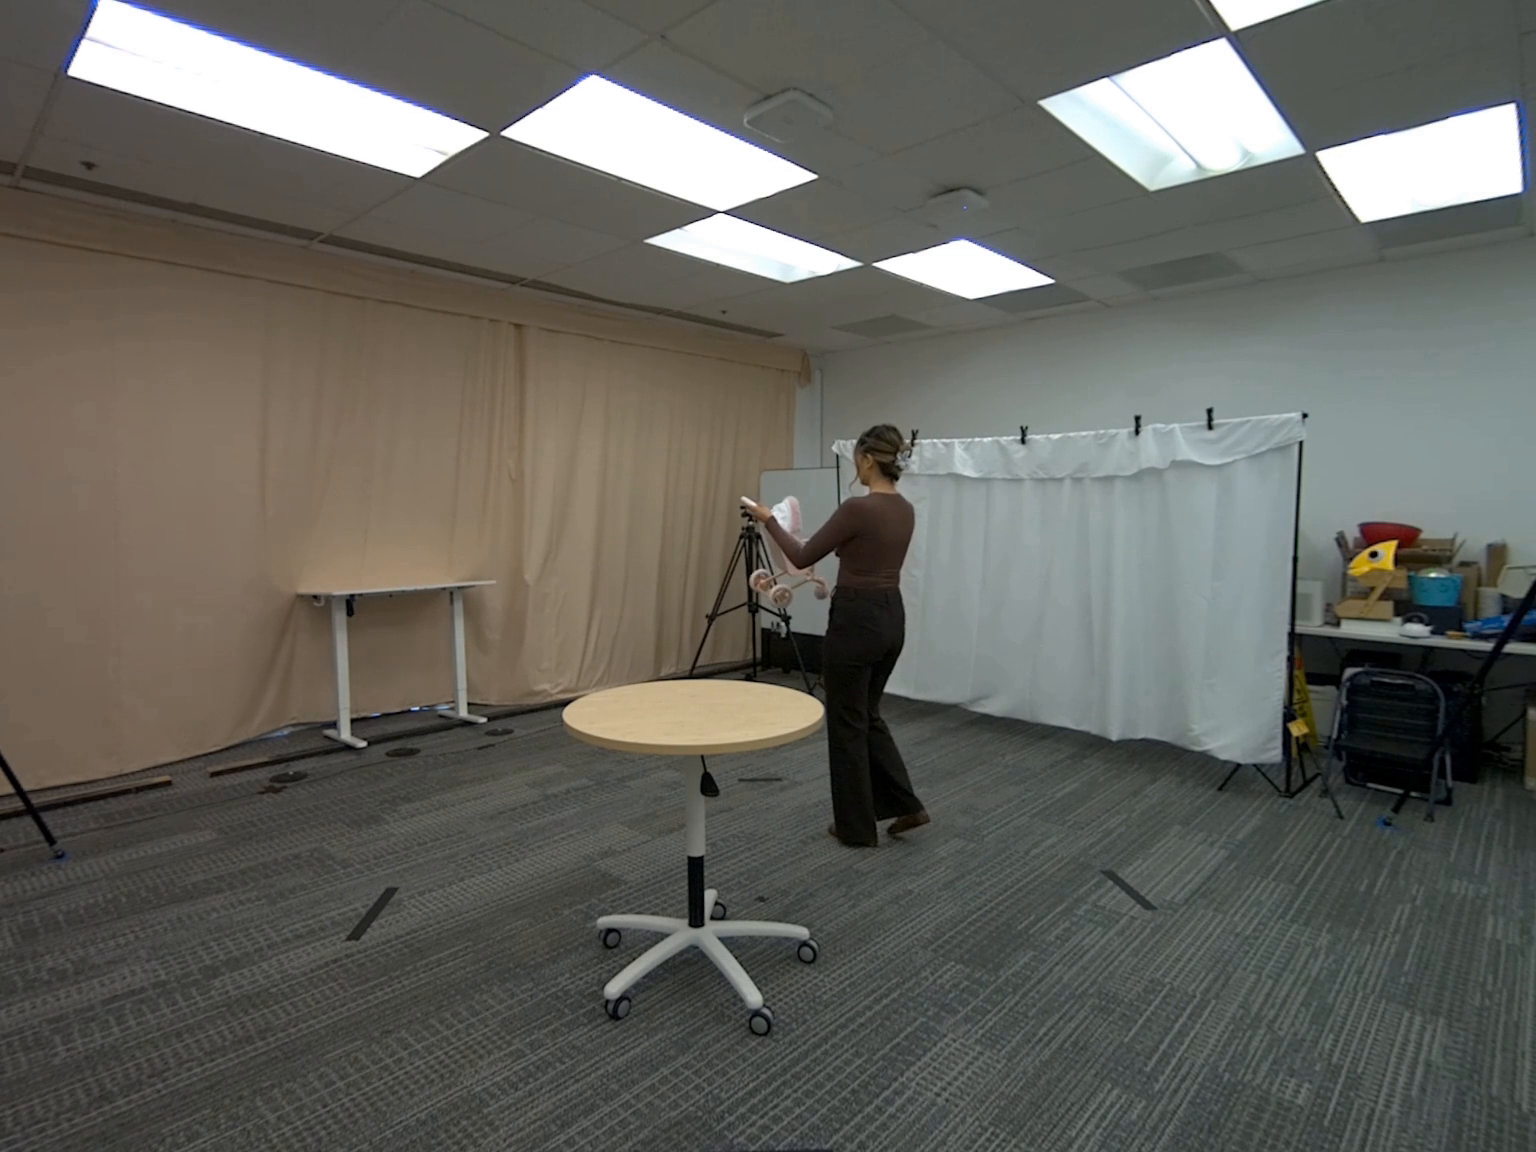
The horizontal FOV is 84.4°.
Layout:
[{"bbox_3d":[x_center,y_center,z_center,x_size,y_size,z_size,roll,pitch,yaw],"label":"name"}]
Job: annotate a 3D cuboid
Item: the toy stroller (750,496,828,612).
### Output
[{"bbox_3d":[0.098,-0.112,3.736,0.338,0.528,0.288,-13,17,-11],"label":"toy stroller"}]
